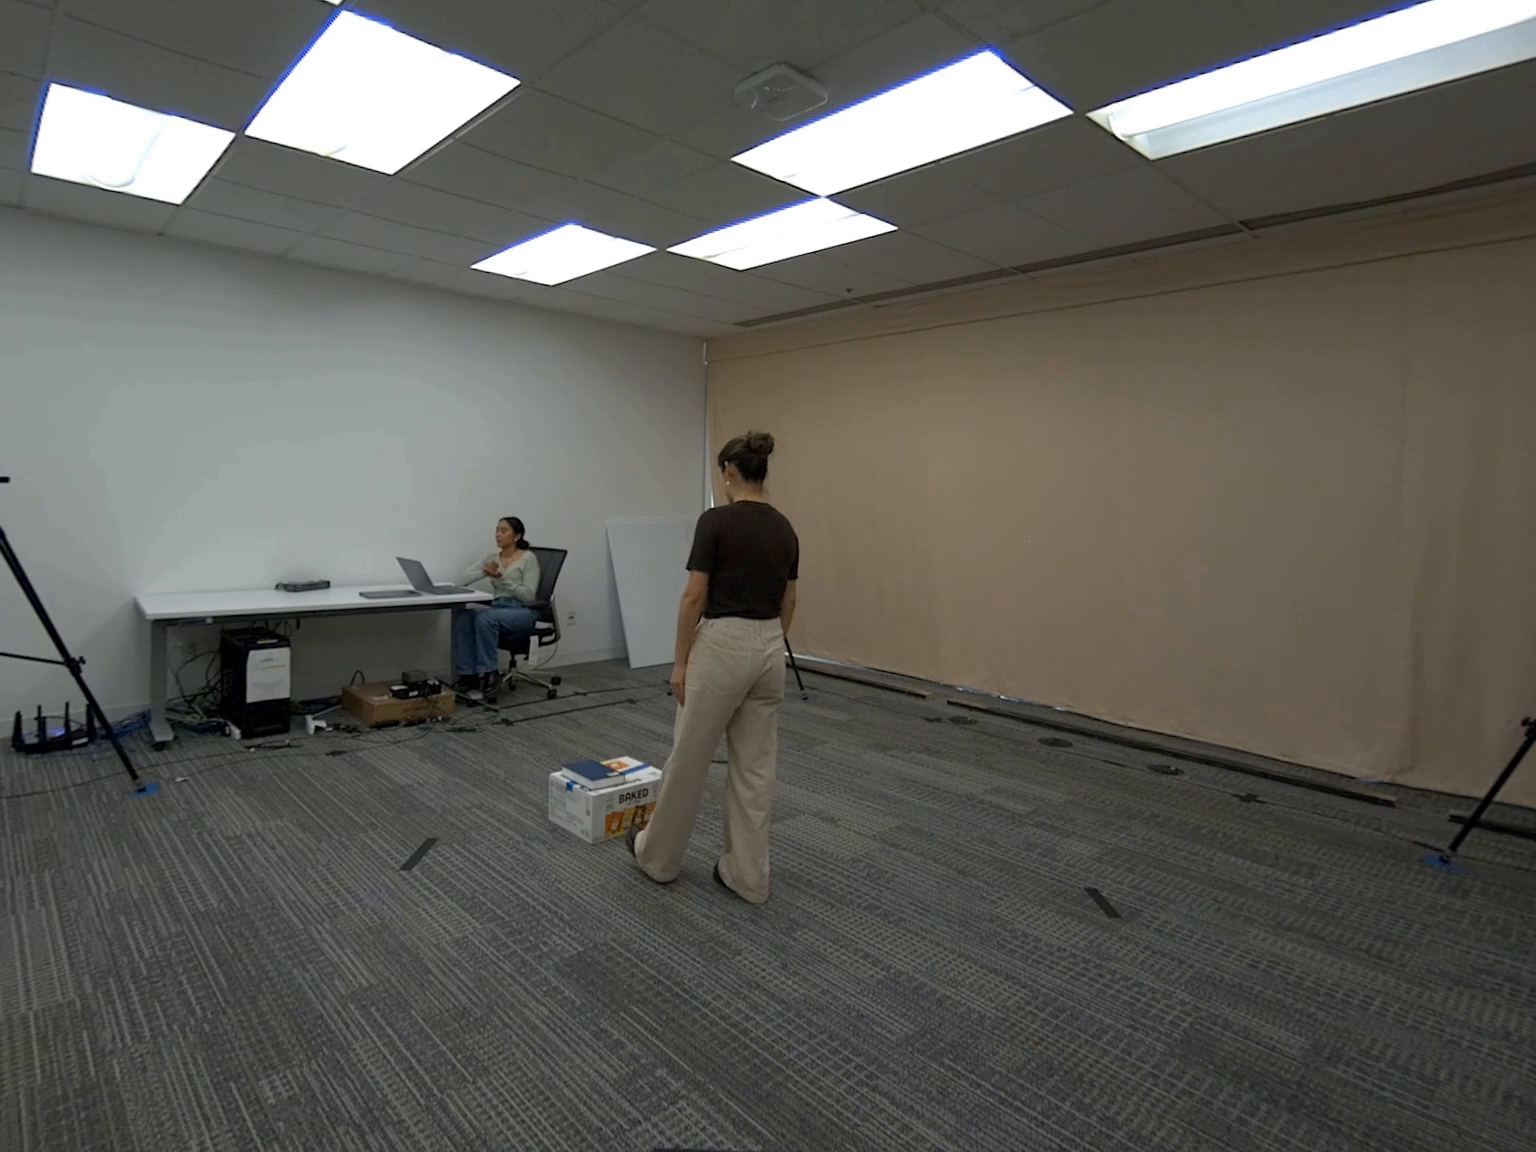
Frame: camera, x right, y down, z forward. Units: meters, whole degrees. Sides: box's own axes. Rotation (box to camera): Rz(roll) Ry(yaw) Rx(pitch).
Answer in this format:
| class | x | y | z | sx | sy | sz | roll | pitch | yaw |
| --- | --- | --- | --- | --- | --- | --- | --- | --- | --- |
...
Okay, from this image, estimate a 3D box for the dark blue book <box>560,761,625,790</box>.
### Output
| class | x | y | z | sx | sy | sz | roll | pitch | yaw |
| --- | --- | --- | --- | --- | --- | --- | --- | --- | --- |
| dark blue book | -0.741 | 0.832 | 3.524 | 0.159 | 0.045 | 0.251 | 1 | 4 | -43 |
